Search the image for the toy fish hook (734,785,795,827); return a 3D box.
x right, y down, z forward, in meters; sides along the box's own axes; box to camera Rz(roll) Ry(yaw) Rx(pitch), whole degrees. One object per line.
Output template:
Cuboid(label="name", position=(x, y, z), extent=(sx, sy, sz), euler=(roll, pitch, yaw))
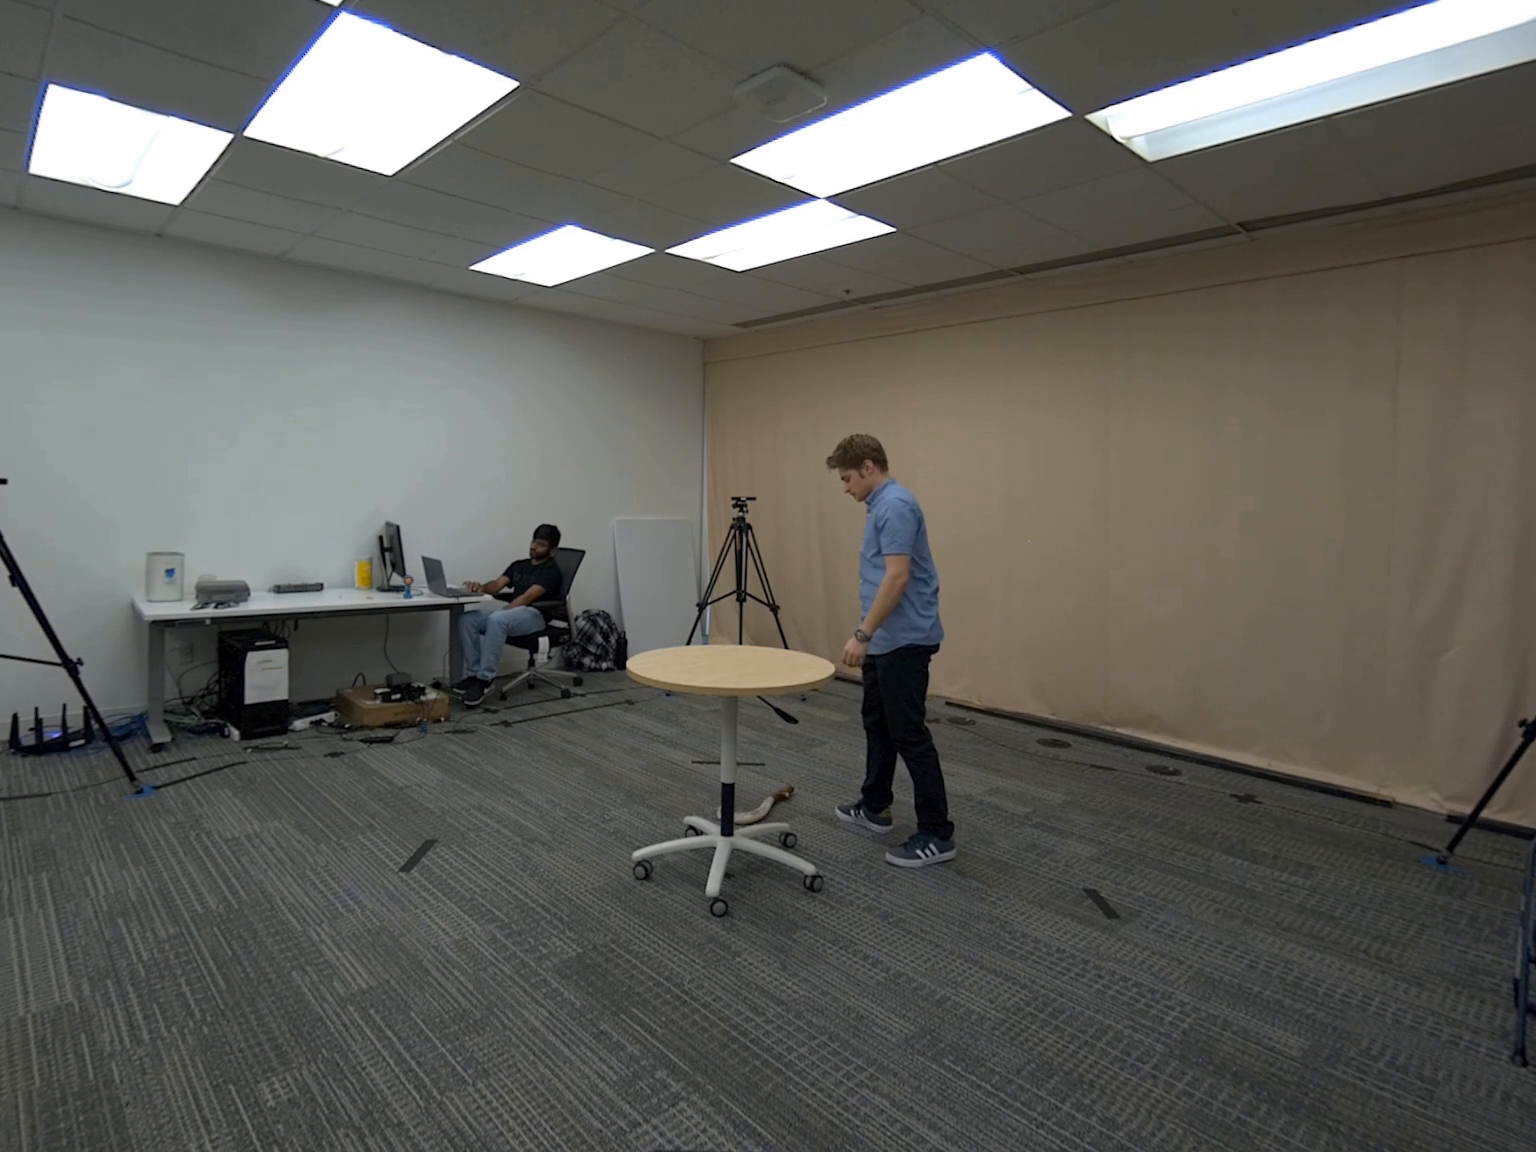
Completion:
Cuboid(label="toy fish hook", position=(-0.064, 1.025, 3.817), extent=(0.229, 0.048, 0.497), euler=(5, 5, 28))
